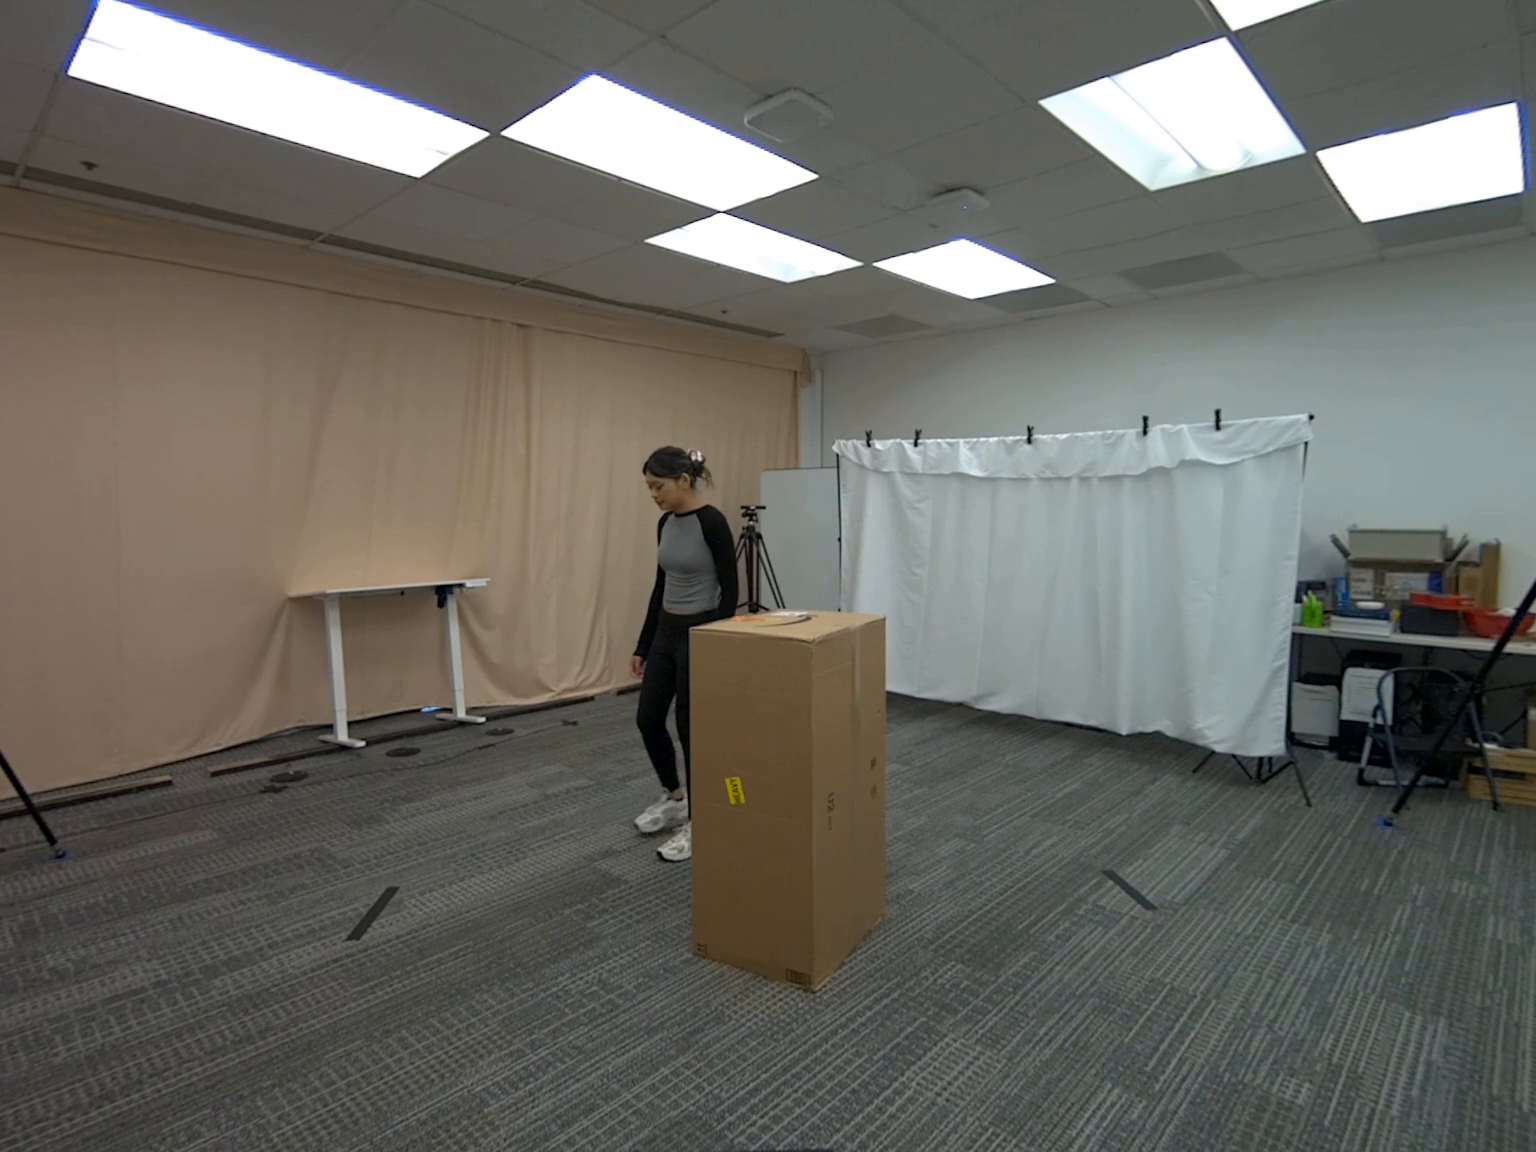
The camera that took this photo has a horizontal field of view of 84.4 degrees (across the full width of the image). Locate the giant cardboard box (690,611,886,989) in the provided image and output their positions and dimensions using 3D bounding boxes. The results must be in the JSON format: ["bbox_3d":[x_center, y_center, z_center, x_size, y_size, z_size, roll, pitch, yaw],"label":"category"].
[{"bbox_3d":[0.084,0.657,2.727,0.439,1.024,0.561,2,3,31],"label":"giant cardboard box"}]
